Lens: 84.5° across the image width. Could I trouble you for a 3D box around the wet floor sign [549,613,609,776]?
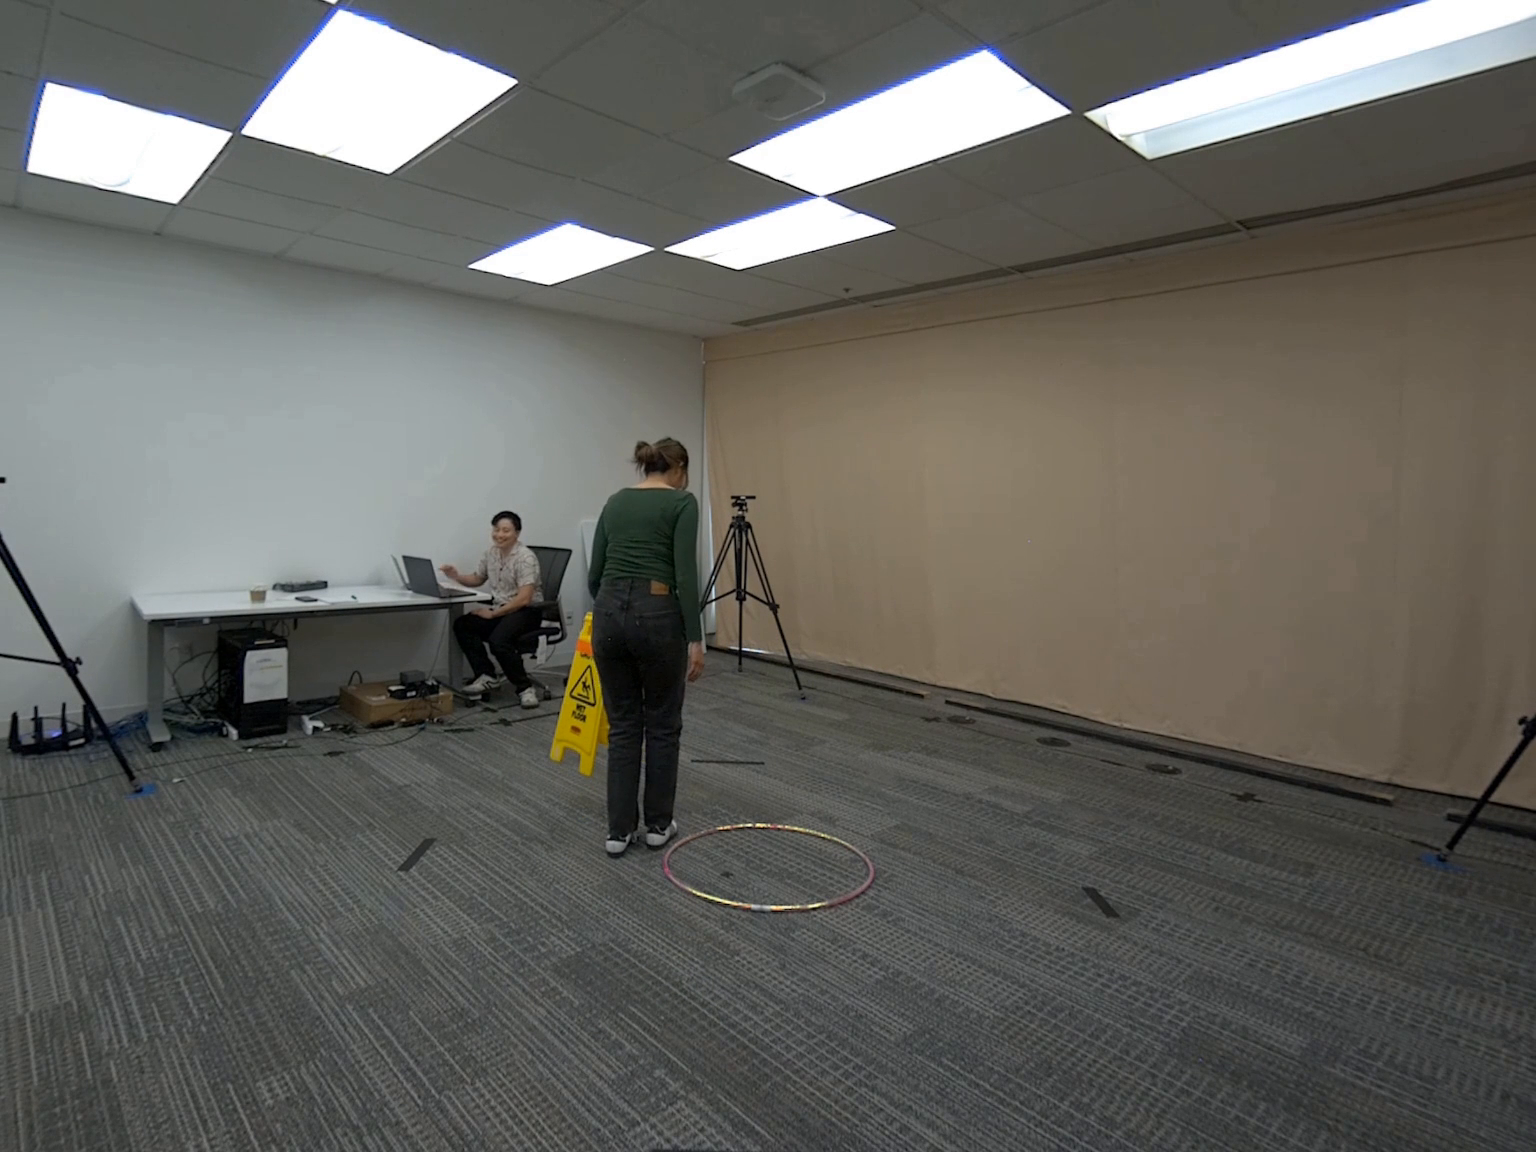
[{"bbox_3d":[-0.745,0.490,3.679,0.290,0.643,0.283,10,9,39],"label":"wet floor sign"}]
